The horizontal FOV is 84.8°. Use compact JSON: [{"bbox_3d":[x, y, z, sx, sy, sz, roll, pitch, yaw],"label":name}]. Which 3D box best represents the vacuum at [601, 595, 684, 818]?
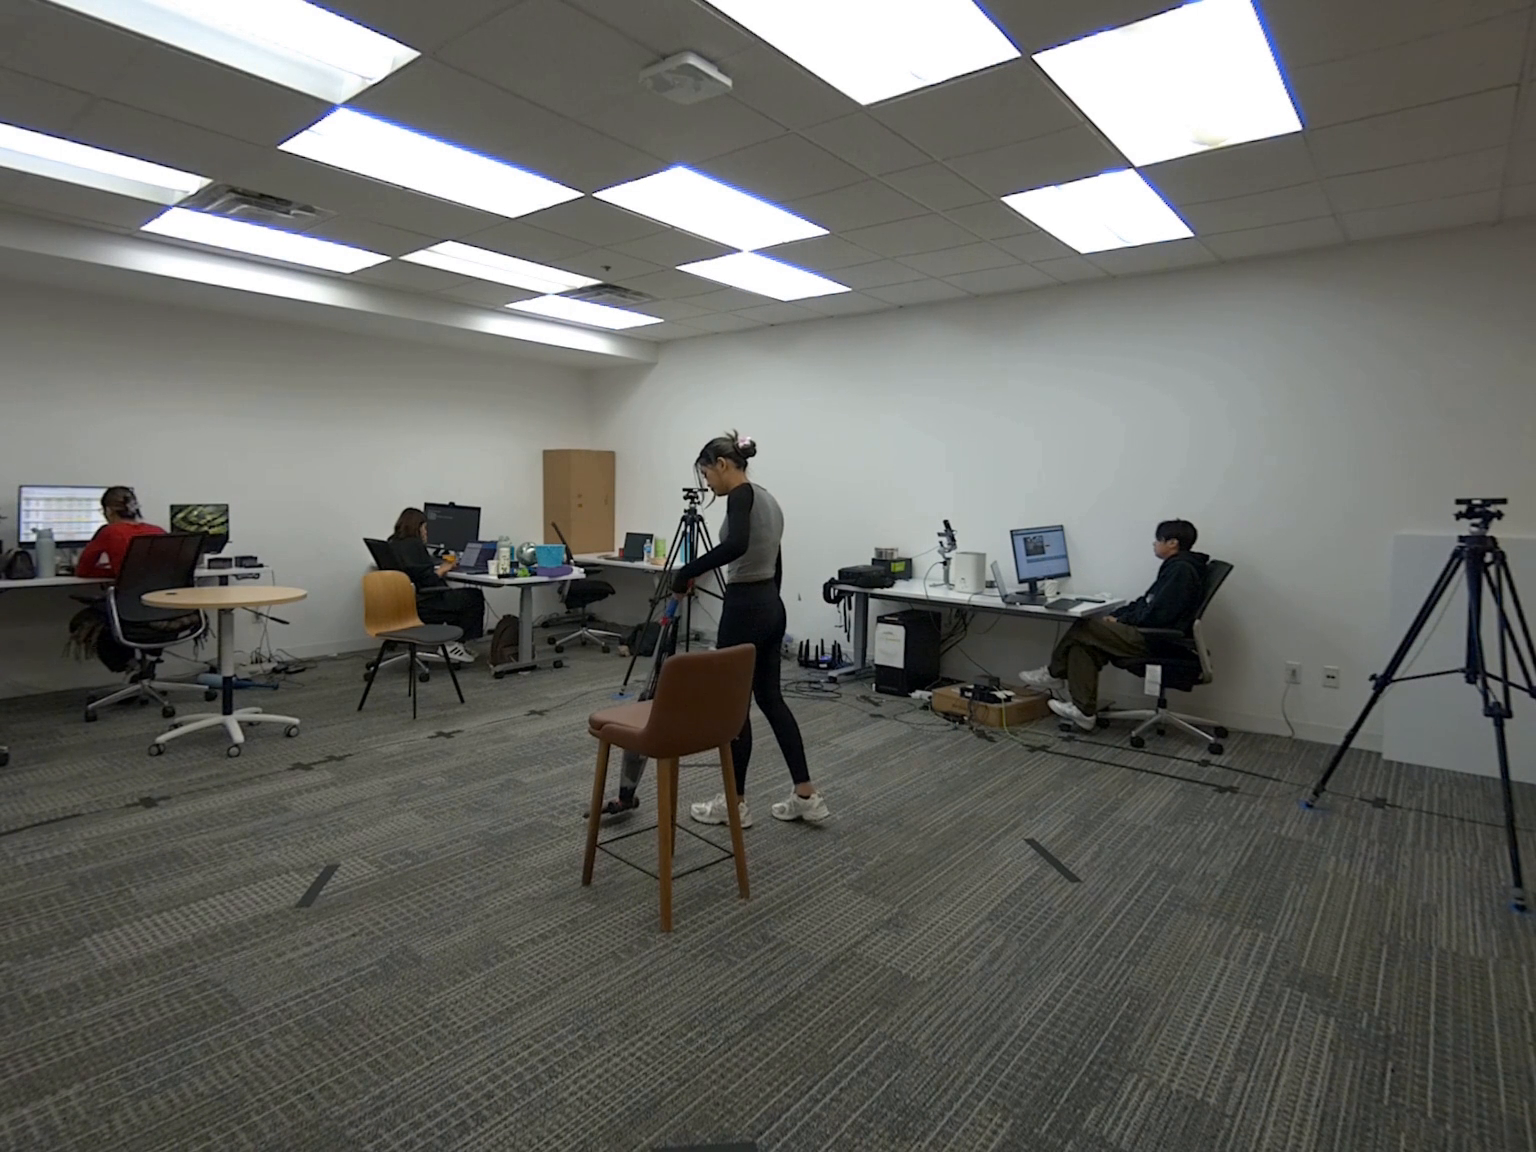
[{"bbox_3d":[-0.486,0.489,3.421,0.149,1.041,0.245,26,15,30],"label":"vacuum"}]
